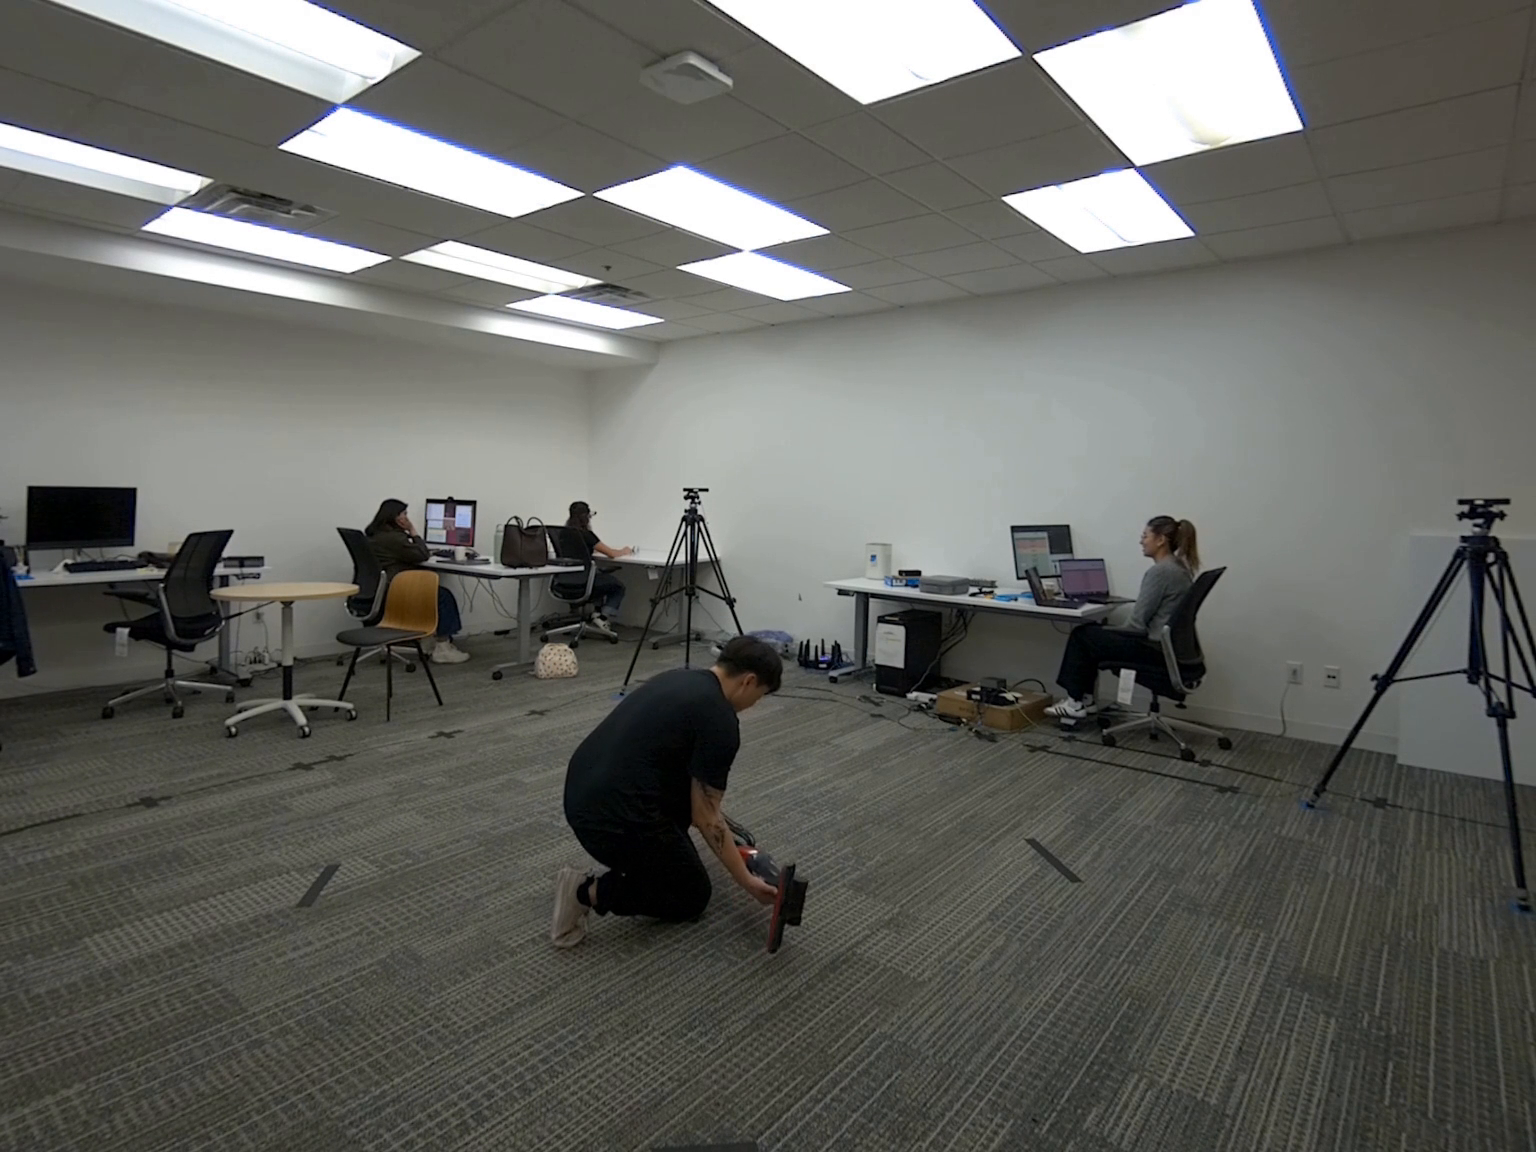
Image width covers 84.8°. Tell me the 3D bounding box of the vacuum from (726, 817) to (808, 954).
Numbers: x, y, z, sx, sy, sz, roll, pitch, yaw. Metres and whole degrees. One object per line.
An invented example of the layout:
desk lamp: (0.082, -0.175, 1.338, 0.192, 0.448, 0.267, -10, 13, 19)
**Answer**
vacuum: (-0.149, 0.925, 2.974, 0.140, 0.253, 1.074, 13, 0, -22)
